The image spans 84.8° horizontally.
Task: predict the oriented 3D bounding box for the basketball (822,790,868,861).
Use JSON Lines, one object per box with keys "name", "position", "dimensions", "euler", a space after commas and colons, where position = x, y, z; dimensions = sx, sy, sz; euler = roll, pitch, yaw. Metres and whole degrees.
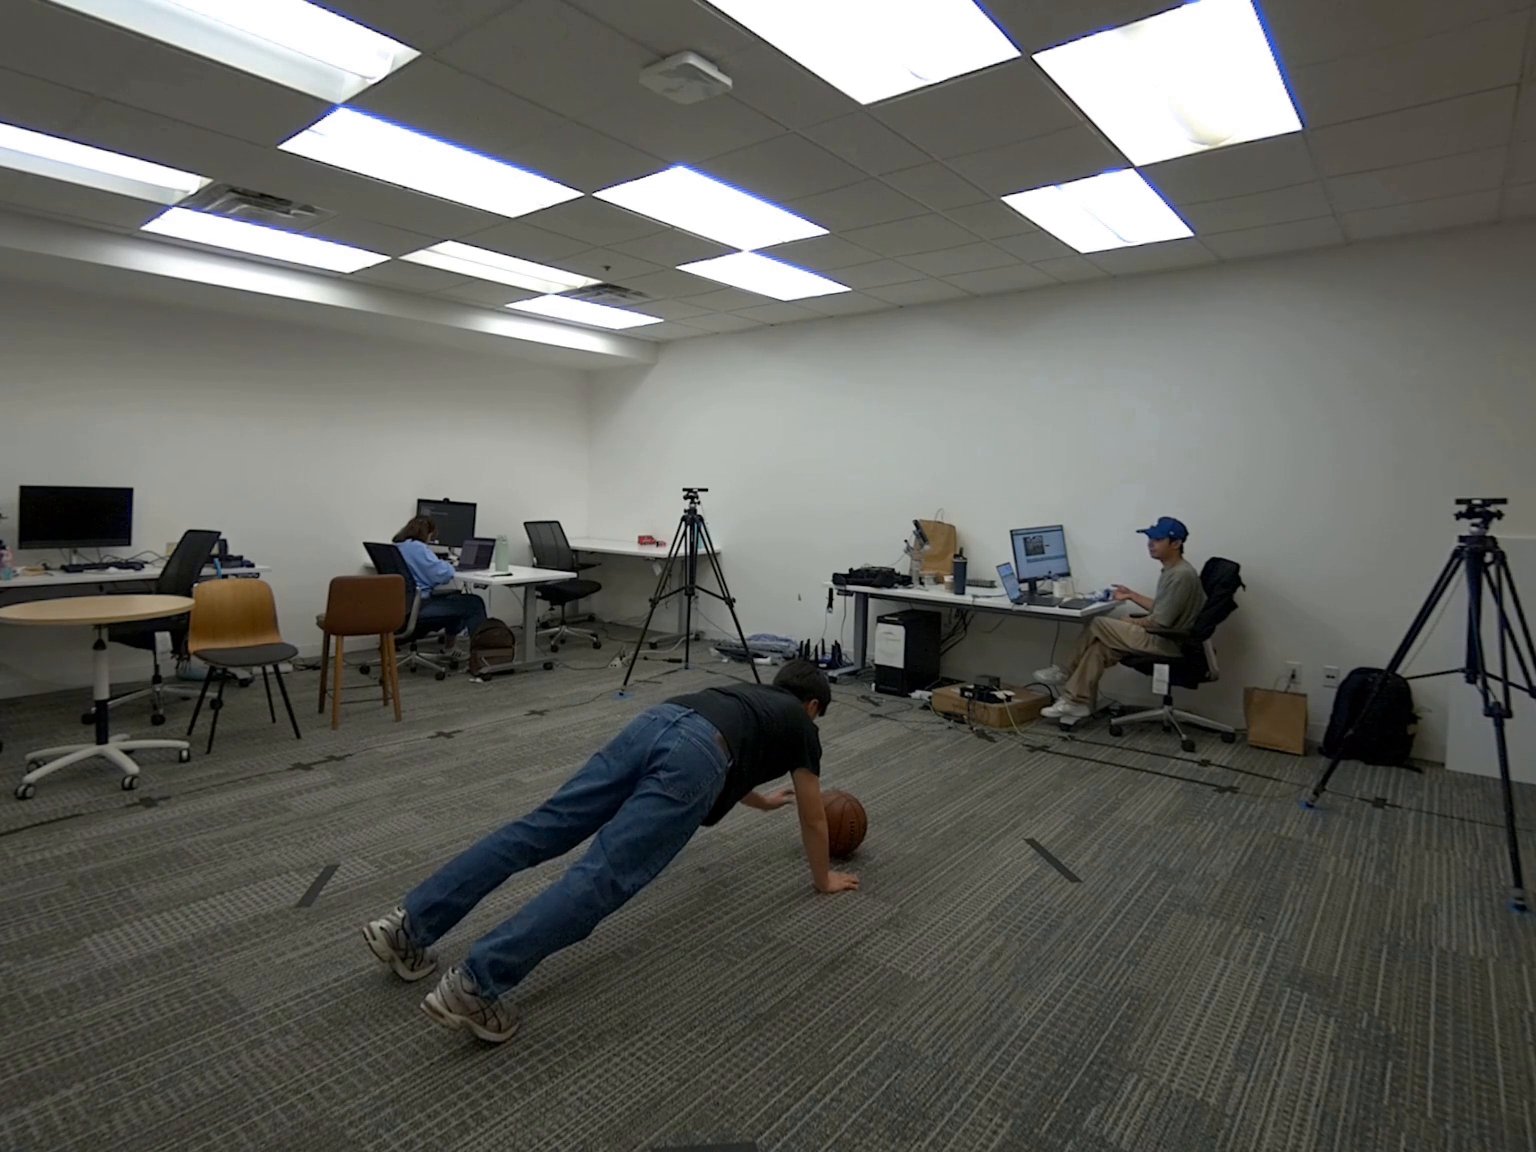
{"name": "basketball", "position": [0.256, 0.941, 3.275], "dimensions": [0.235, 0.235, 0.237], "euler": [1, 4, -2]}
